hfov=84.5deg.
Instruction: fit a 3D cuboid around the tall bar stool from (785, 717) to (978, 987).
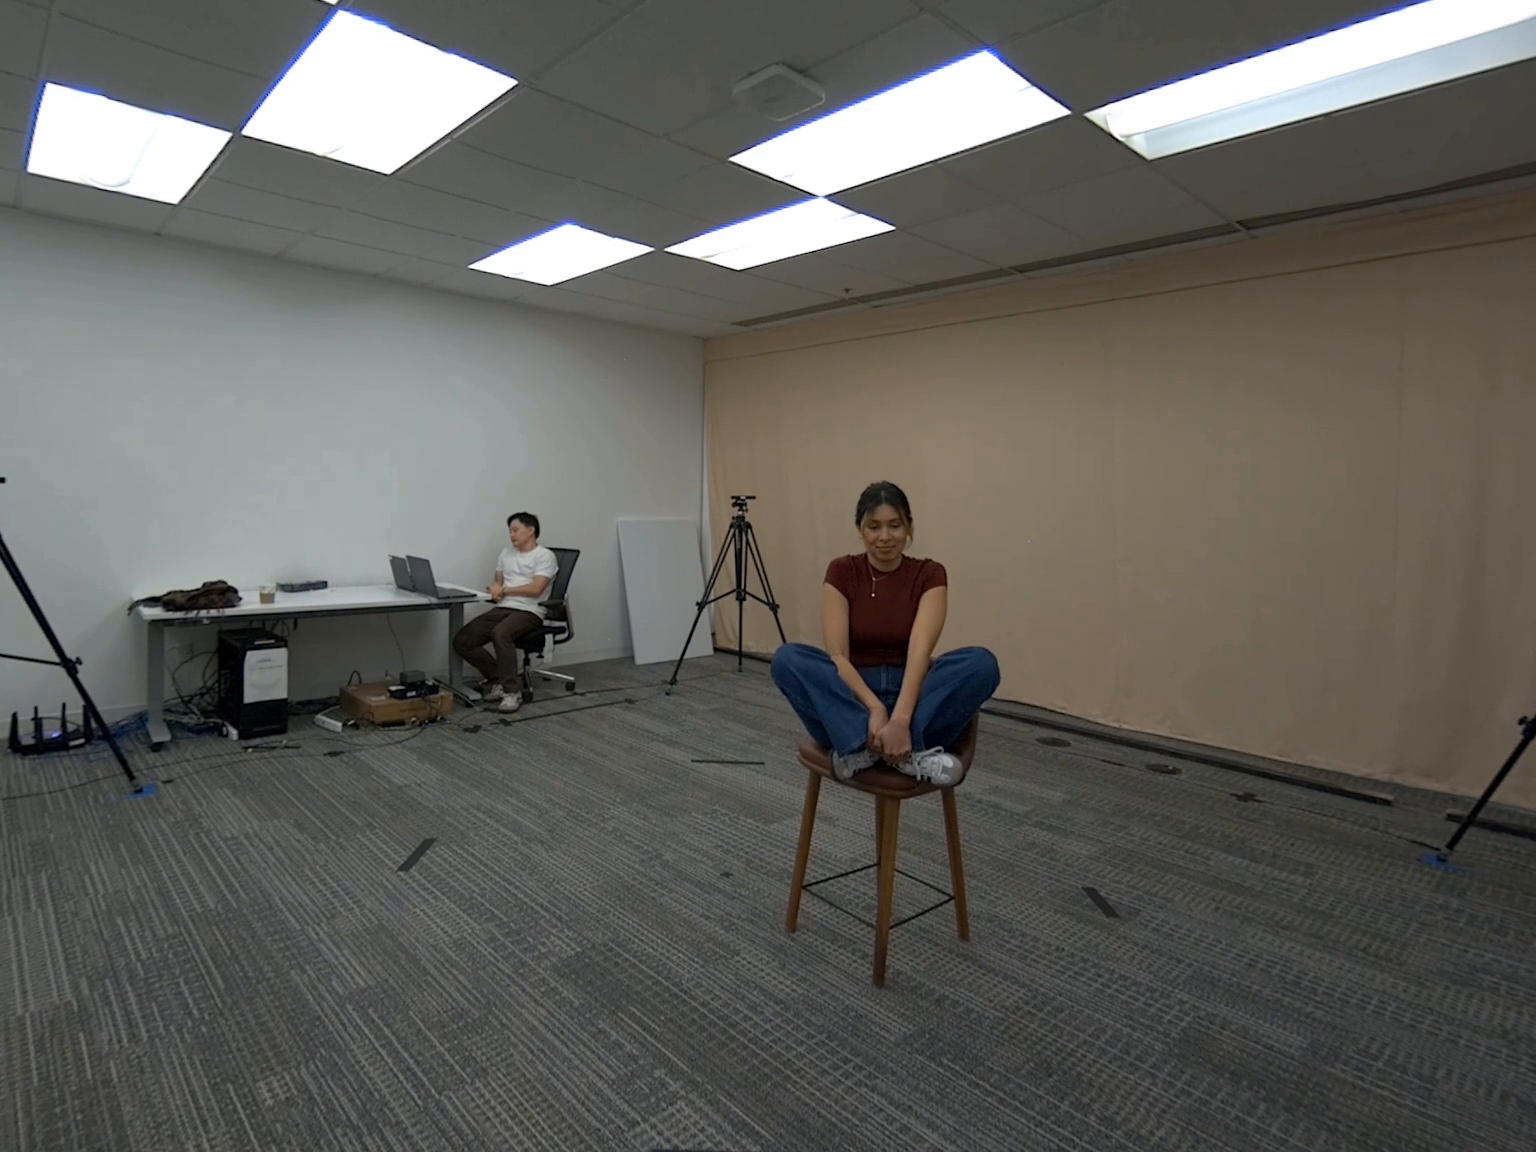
[{"bbox_3d":[0.373,0.722,2.670,0.456,0.888,0.468,1,4,-40],"label":"tall bar stool"}]
